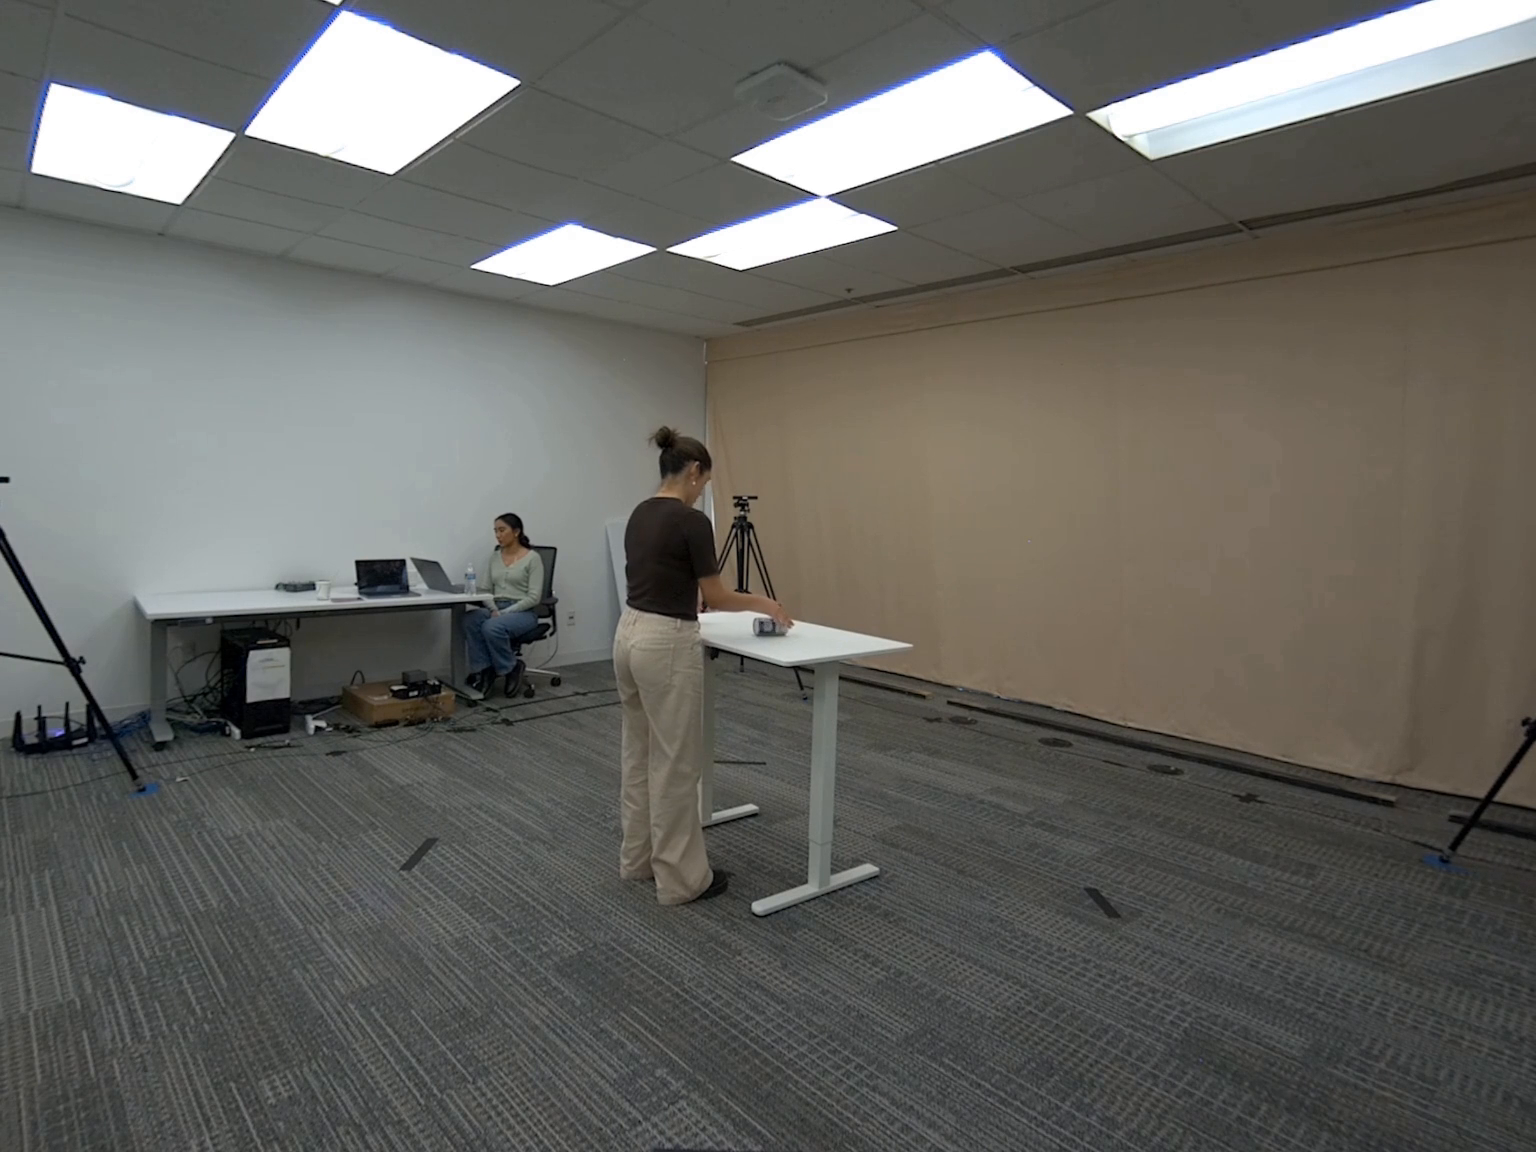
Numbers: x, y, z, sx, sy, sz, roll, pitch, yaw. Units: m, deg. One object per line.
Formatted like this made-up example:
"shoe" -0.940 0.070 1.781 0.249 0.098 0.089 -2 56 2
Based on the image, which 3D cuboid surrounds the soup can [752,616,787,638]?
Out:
"soup can" 0.006 0.194 3.099 0.121 0.067 0.068 2 4 -8
